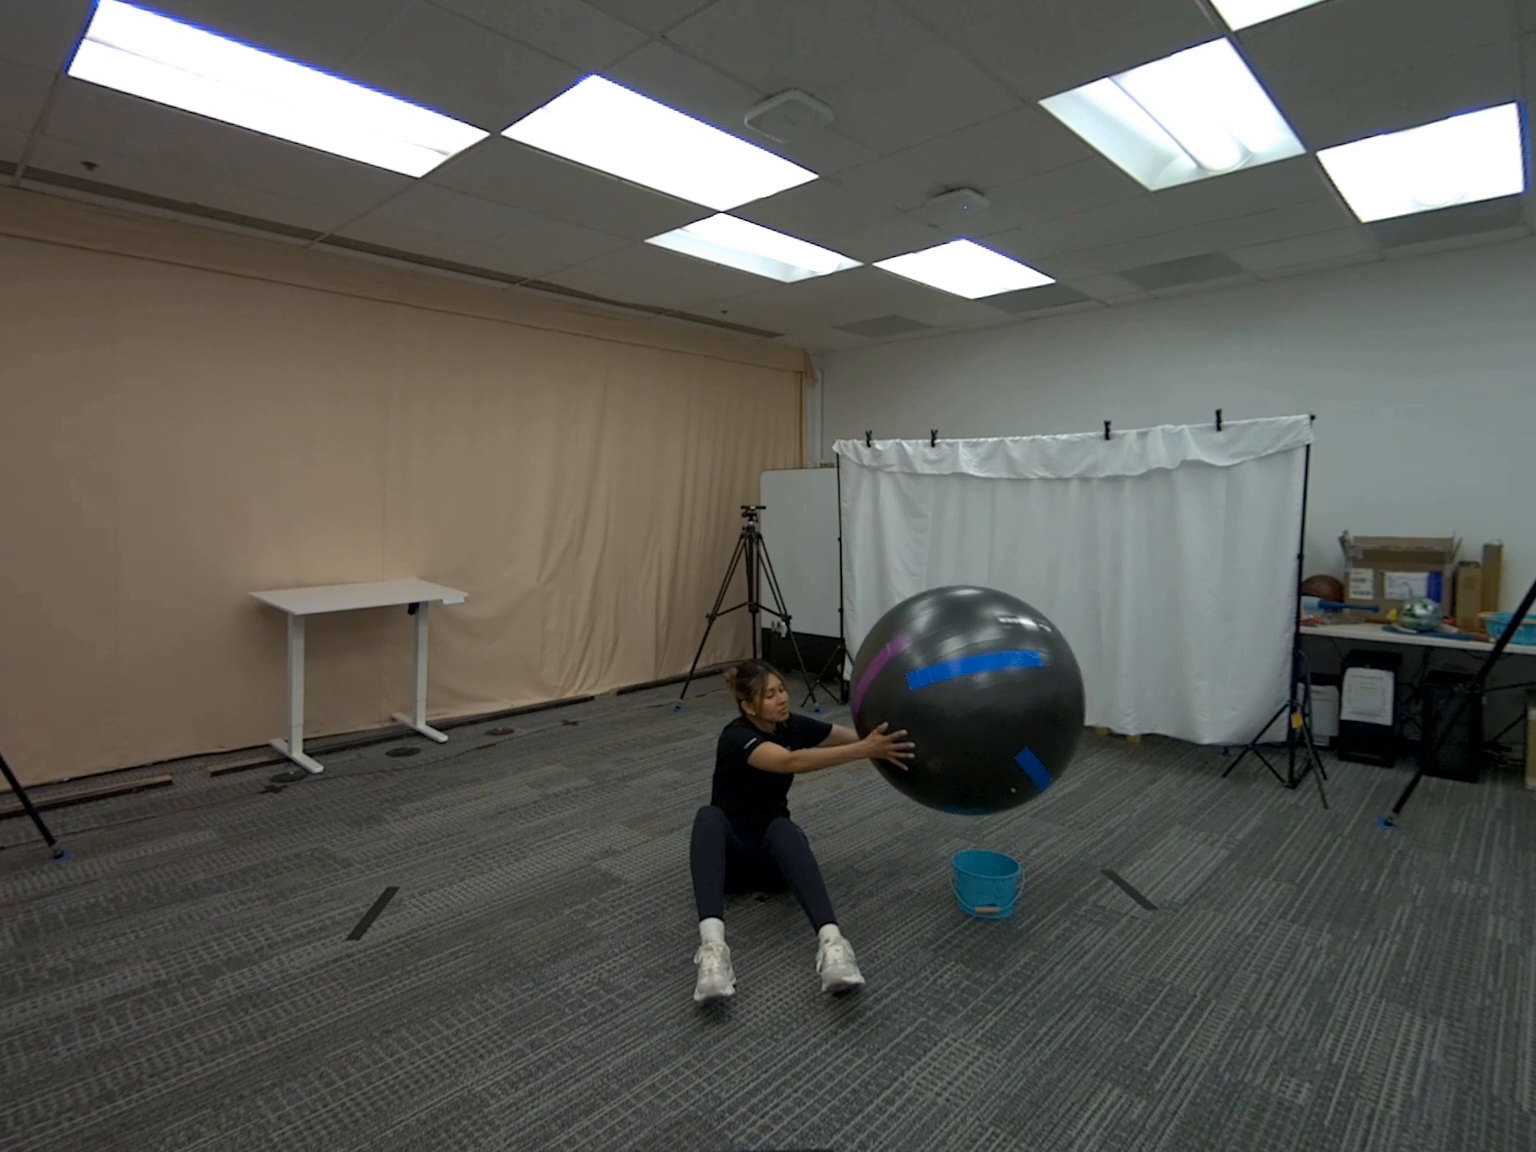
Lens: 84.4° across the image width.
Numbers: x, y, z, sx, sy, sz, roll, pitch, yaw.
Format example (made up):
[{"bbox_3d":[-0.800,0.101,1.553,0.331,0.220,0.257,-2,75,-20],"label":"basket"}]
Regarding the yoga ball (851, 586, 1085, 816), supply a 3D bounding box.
[{"bbox_3d":[0.653,0.416,2.831,0.757,0.756,0.760,0,4,-2],"label":"yoga ball"}]
